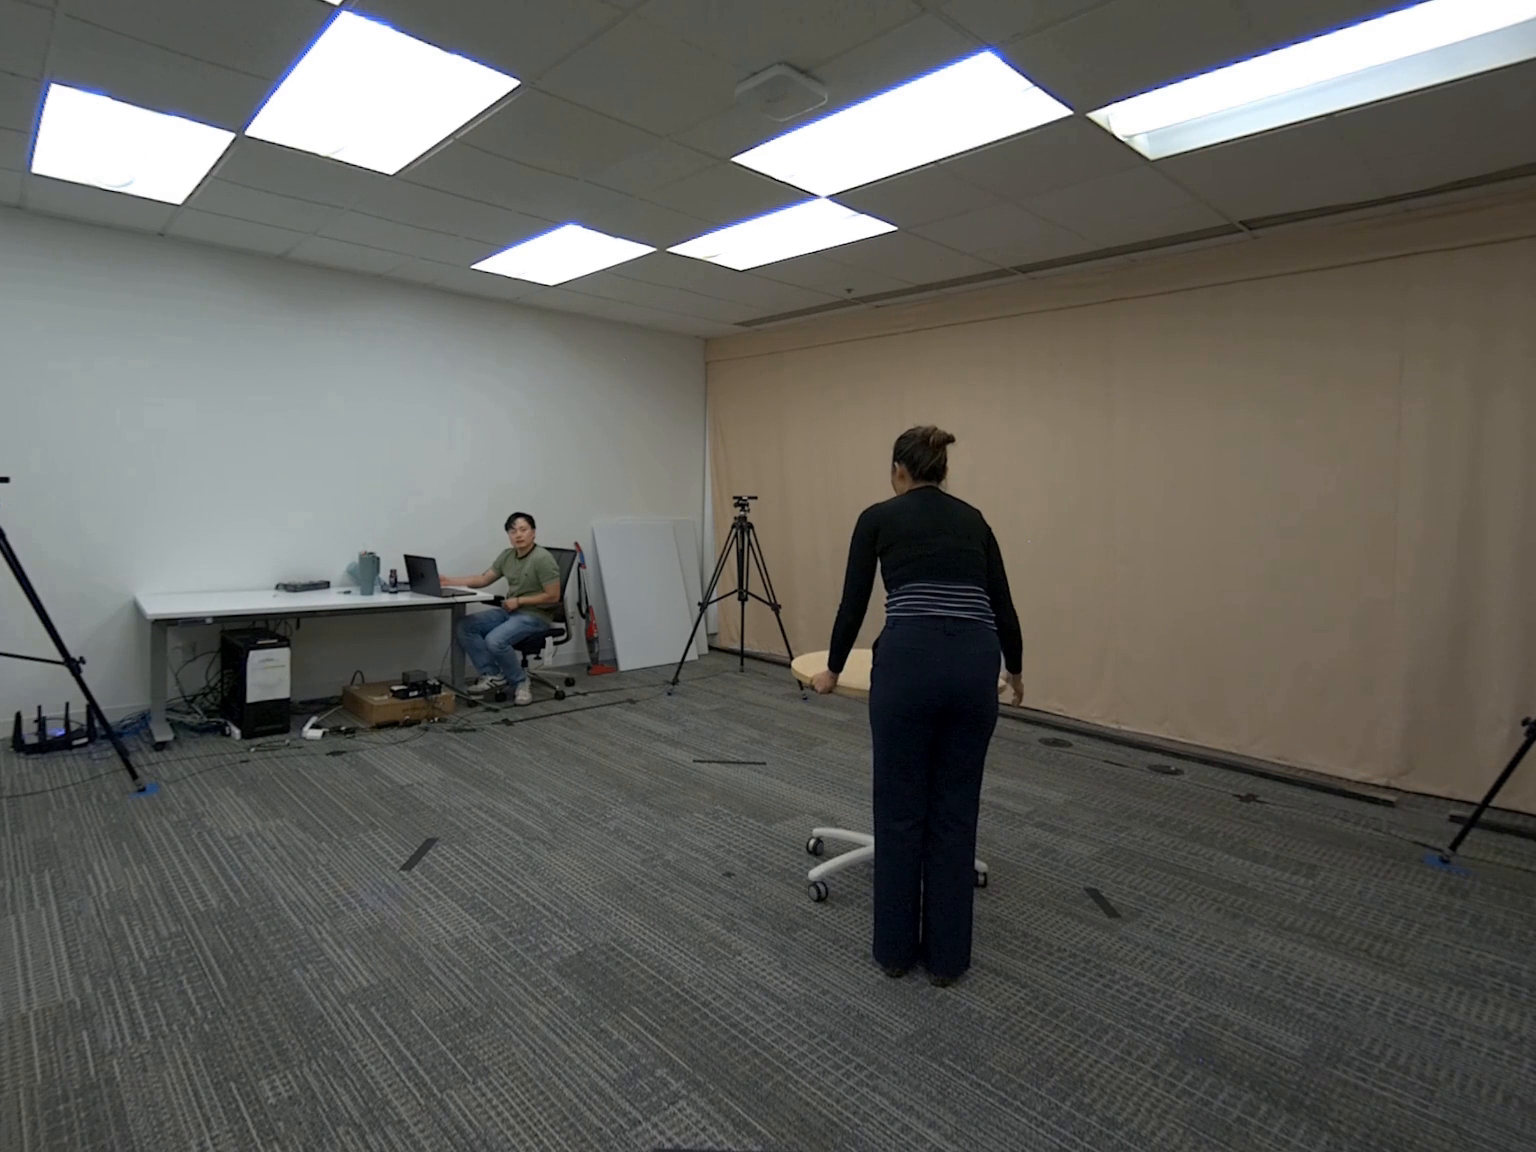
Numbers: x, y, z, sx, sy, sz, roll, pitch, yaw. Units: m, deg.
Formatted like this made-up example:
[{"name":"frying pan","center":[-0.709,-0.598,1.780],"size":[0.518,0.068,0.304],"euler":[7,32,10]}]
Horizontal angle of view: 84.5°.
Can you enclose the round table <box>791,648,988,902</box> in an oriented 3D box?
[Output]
[{"name":"round table","center":[0.450,0.733,3.081],"size":[0.763,0.791,0.767],"euler":[2,5,-2]}]
